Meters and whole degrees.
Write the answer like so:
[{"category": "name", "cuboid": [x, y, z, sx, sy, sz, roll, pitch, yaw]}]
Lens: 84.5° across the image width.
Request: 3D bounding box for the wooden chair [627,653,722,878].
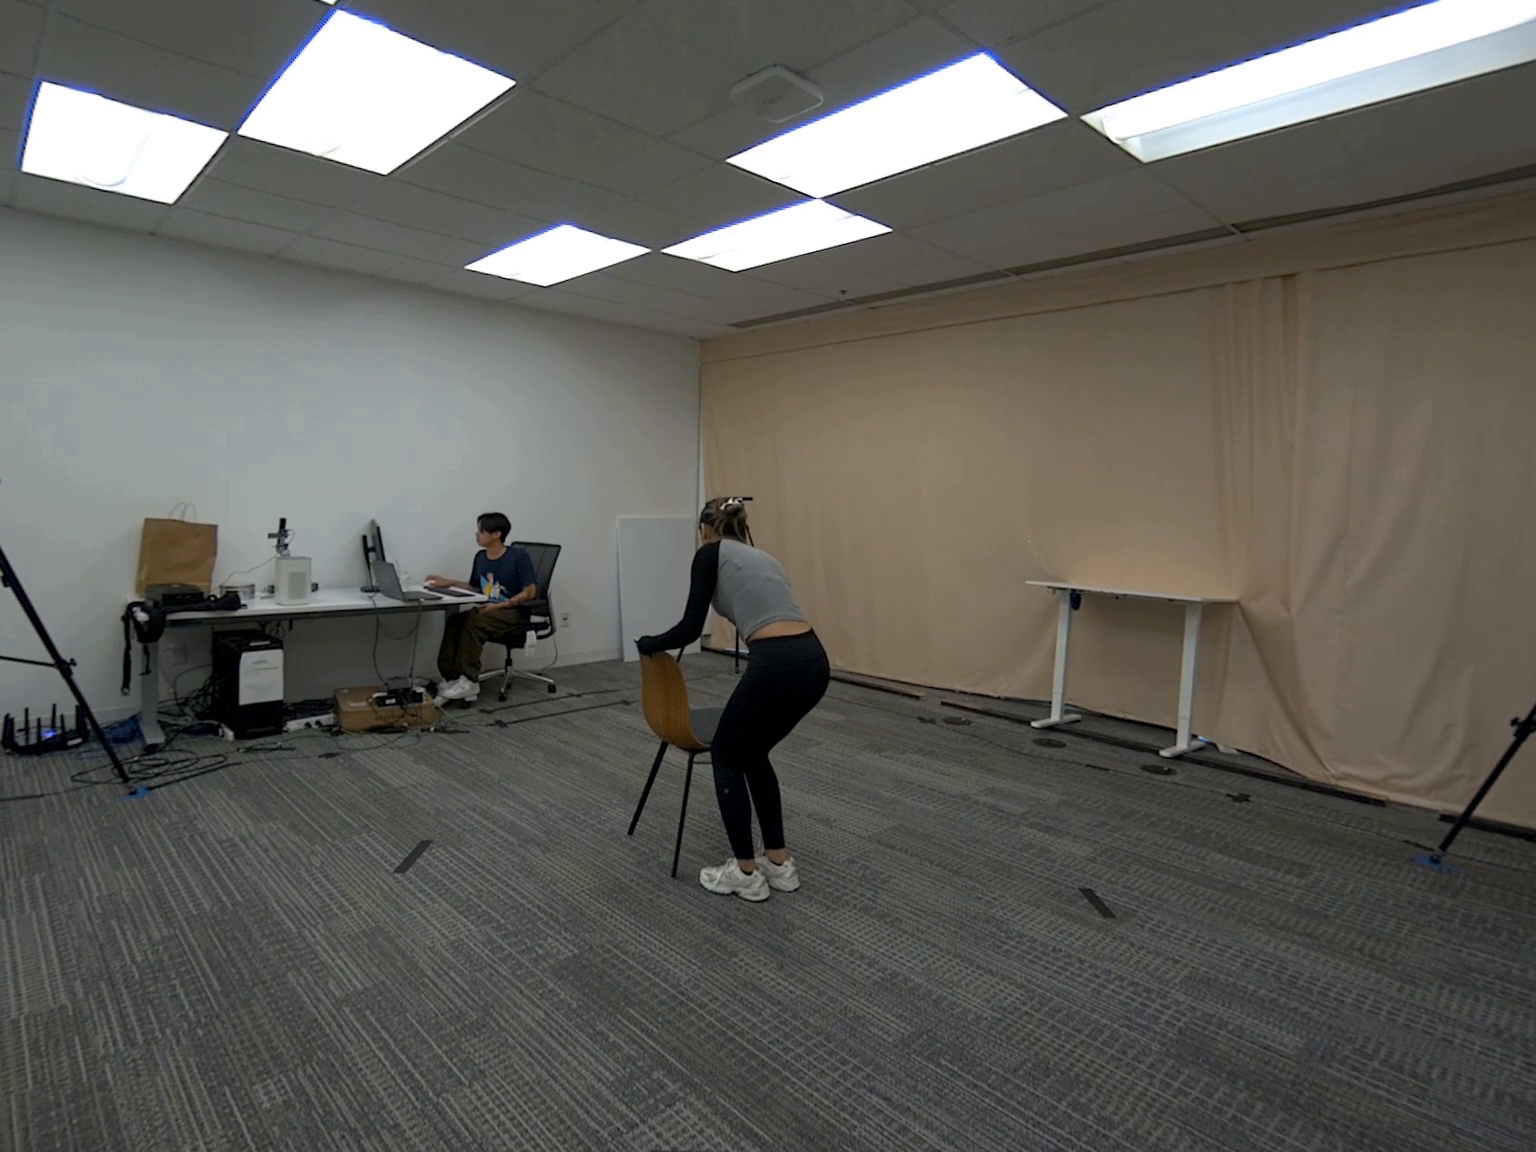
[{"category": "wooden chair", "cuboid": [-0.252, 0.653, 3.354, 0.513, 0.874, 0.489, -5, 5, -30]}]
